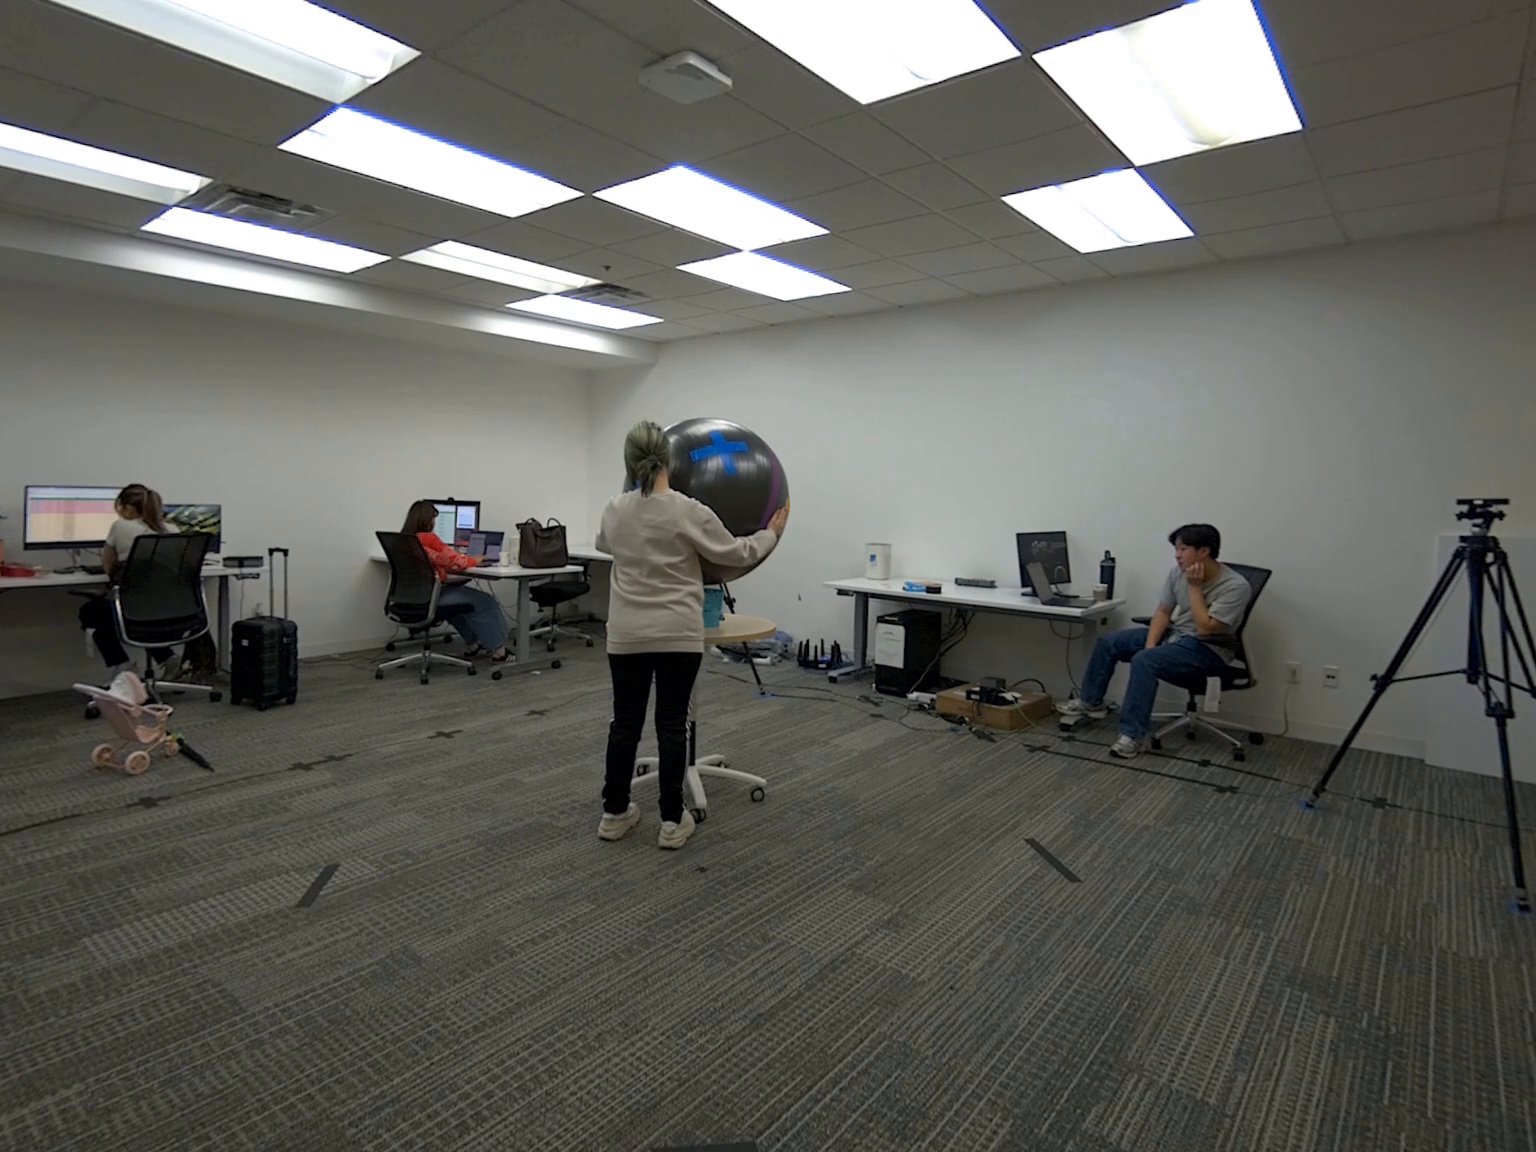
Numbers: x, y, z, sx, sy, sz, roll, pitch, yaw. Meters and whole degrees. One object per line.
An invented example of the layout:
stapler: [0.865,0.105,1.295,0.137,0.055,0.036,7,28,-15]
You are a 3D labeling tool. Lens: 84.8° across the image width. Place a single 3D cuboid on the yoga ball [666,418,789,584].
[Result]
yoga ball: [-0.287,-0.344,3.866,0.757,0.756,0.762,1,4,-2]
